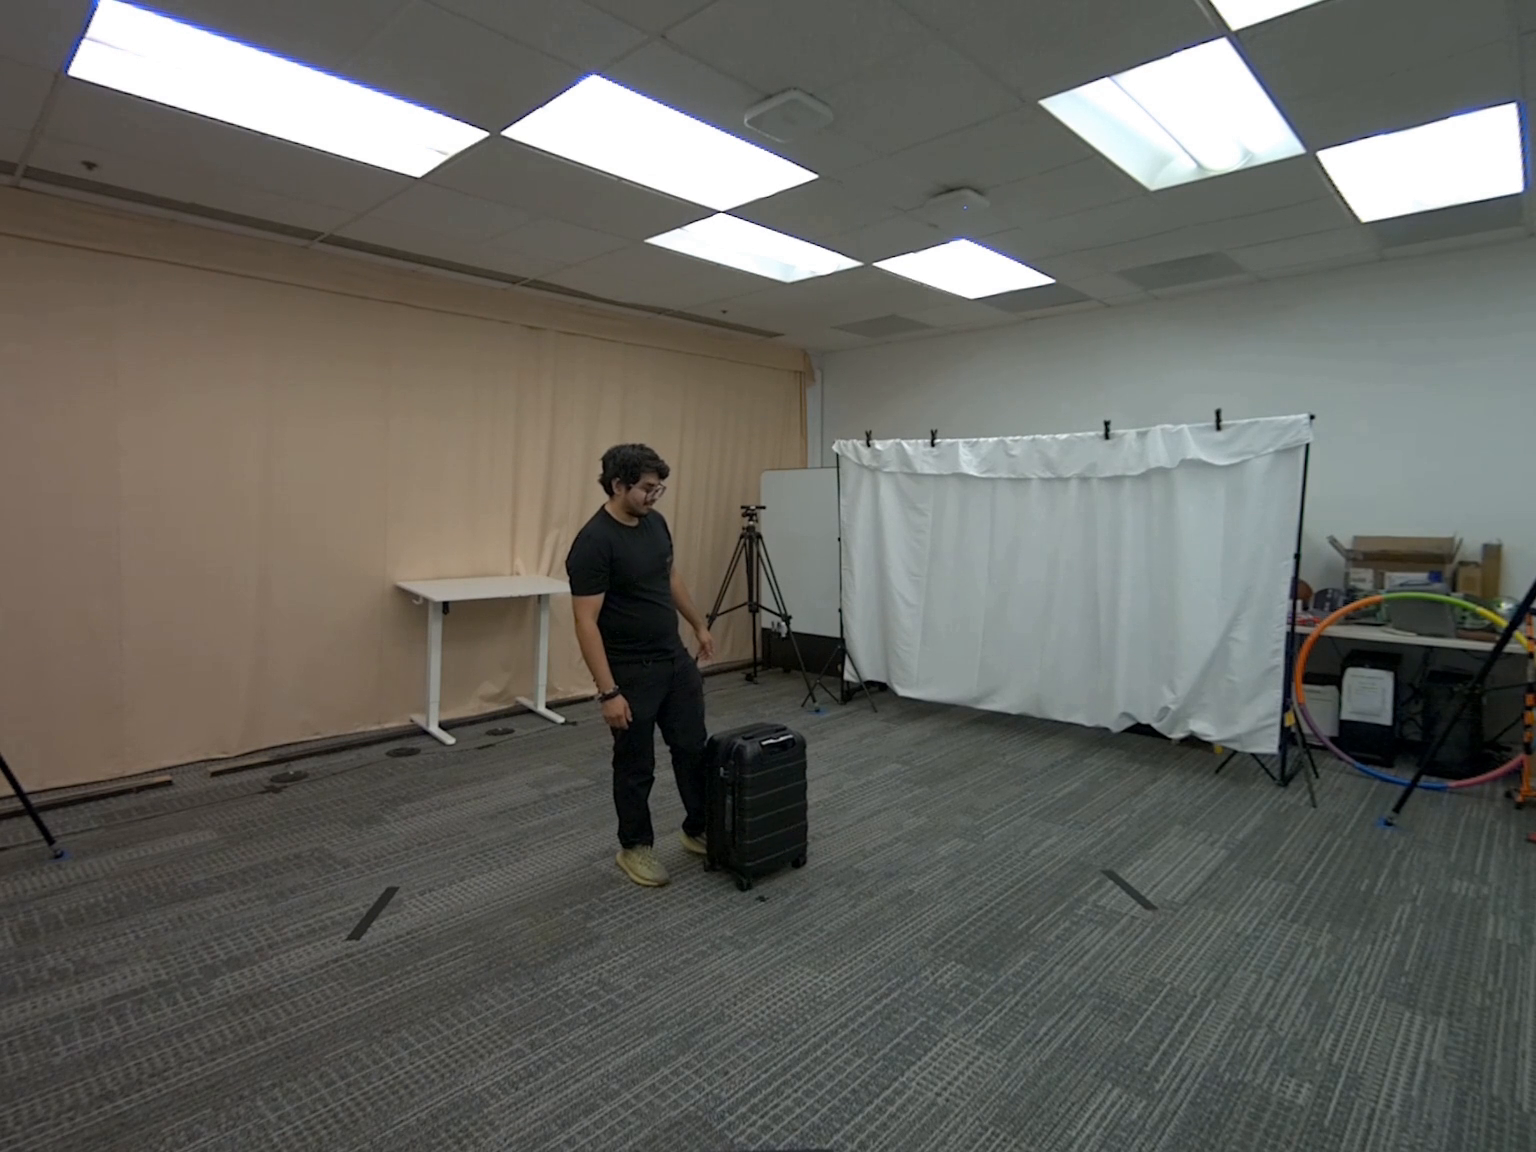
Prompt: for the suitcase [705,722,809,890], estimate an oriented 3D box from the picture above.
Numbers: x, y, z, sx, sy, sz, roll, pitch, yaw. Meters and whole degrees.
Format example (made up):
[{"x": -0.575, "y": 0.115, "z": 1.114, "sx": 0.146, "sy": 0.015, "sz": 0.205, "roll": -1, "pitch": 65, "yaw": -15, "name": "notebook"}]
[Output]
[{"x": -0.041, "y": 0.846, "z": 3.197, "sx": 0.364, "sy": 0.548, "sz": 0.256, "roll": -3, "pitch": 5, "yaw": -43, "name": "suitcase"}]
